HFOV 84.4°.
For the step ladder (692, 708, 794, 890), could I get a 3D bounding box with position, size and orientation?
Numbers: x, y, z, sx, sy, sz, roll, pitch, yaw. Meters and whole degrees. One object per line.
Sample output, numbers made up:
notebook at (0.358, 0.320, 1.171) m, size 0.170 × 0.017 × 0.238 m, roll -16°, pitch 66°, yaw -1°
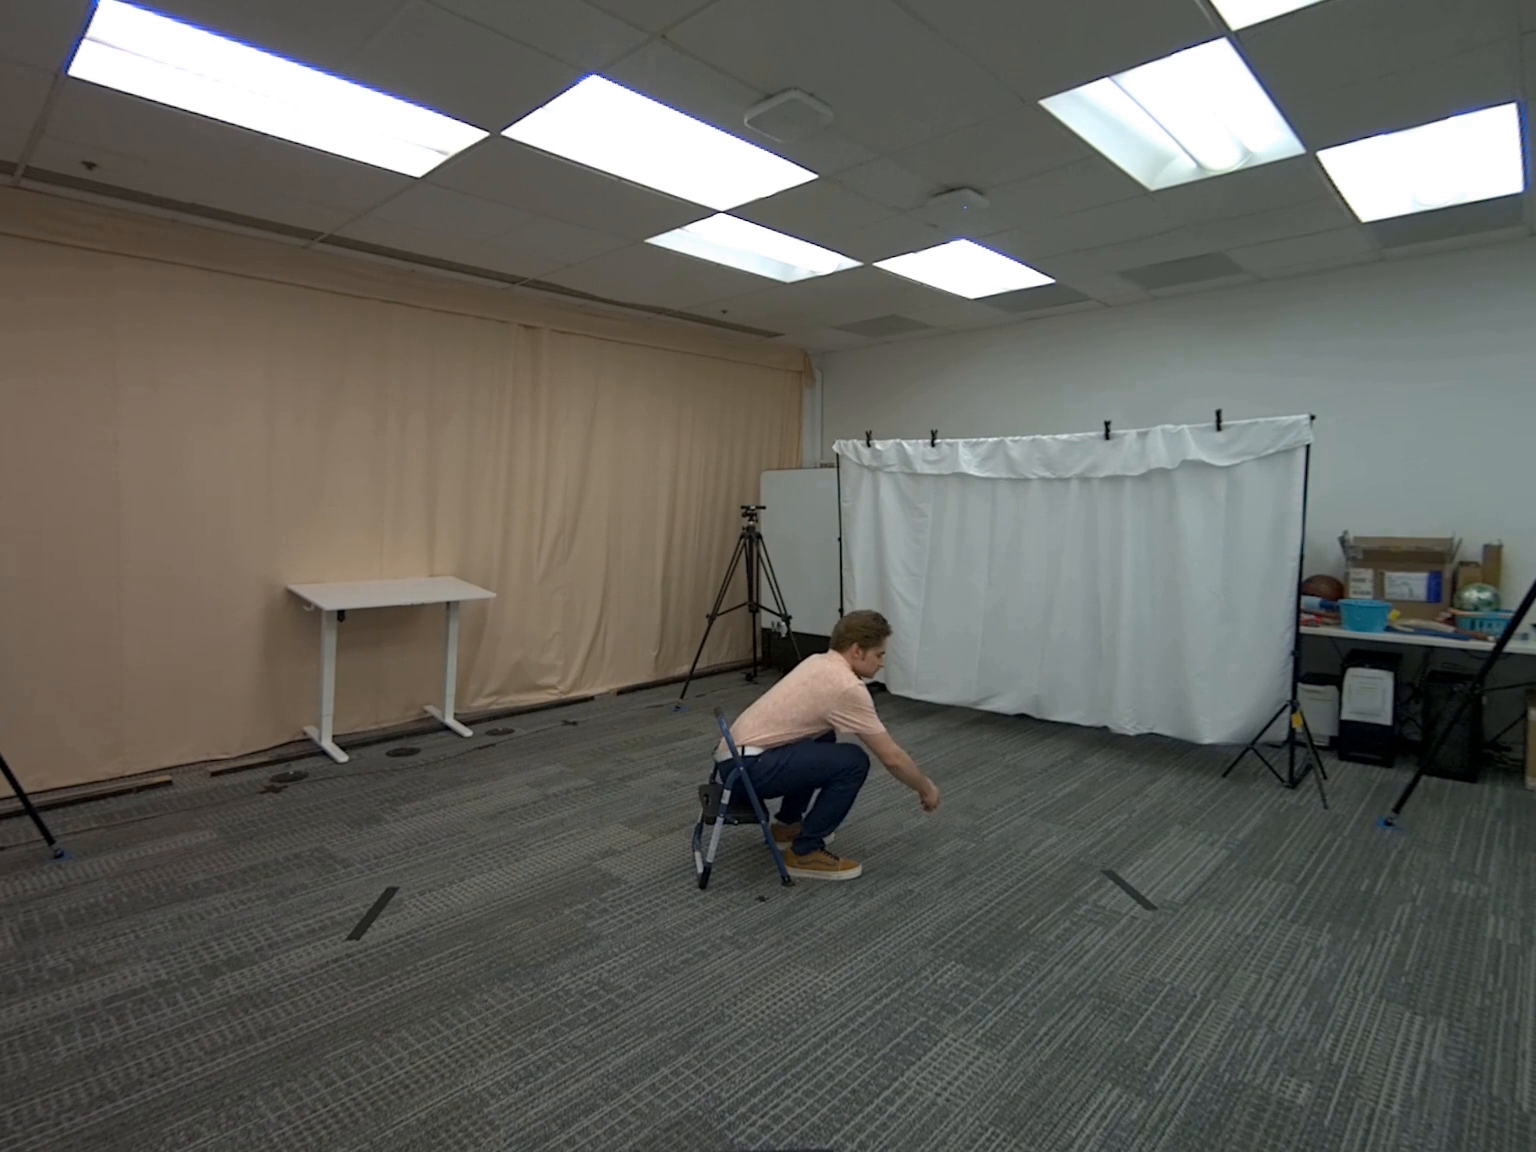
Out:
step ladder at (-0.113, 0.825, 3.262) m, size 0.346 × 0.605 × 0.435 m, roll 0°, pitch 3°, yaw -8°
